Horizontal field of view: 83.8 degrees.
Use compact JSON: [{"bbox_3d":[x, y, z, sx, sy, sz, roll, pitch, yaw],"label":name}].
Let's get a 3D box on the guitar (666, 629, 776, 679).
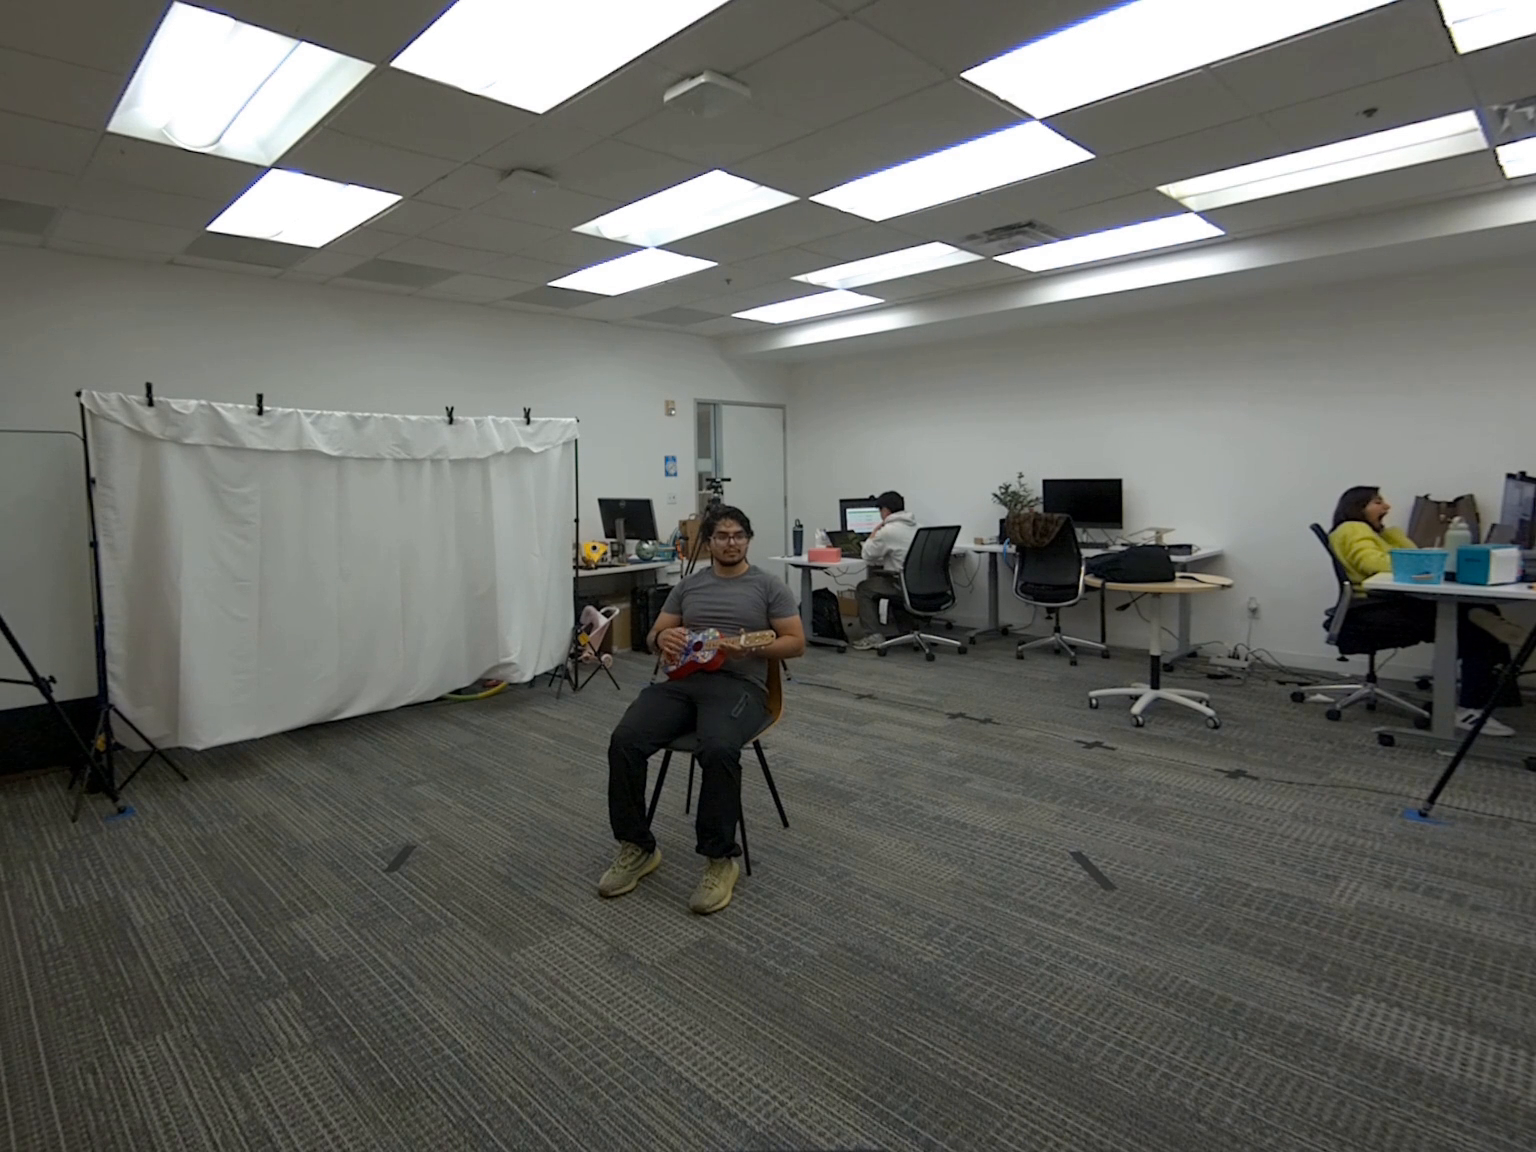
[{"bbox_3d":[-0.207,0.285,3.120,0.511,0.195,0.068,-1,-35,35],"label":"guitar"}]
